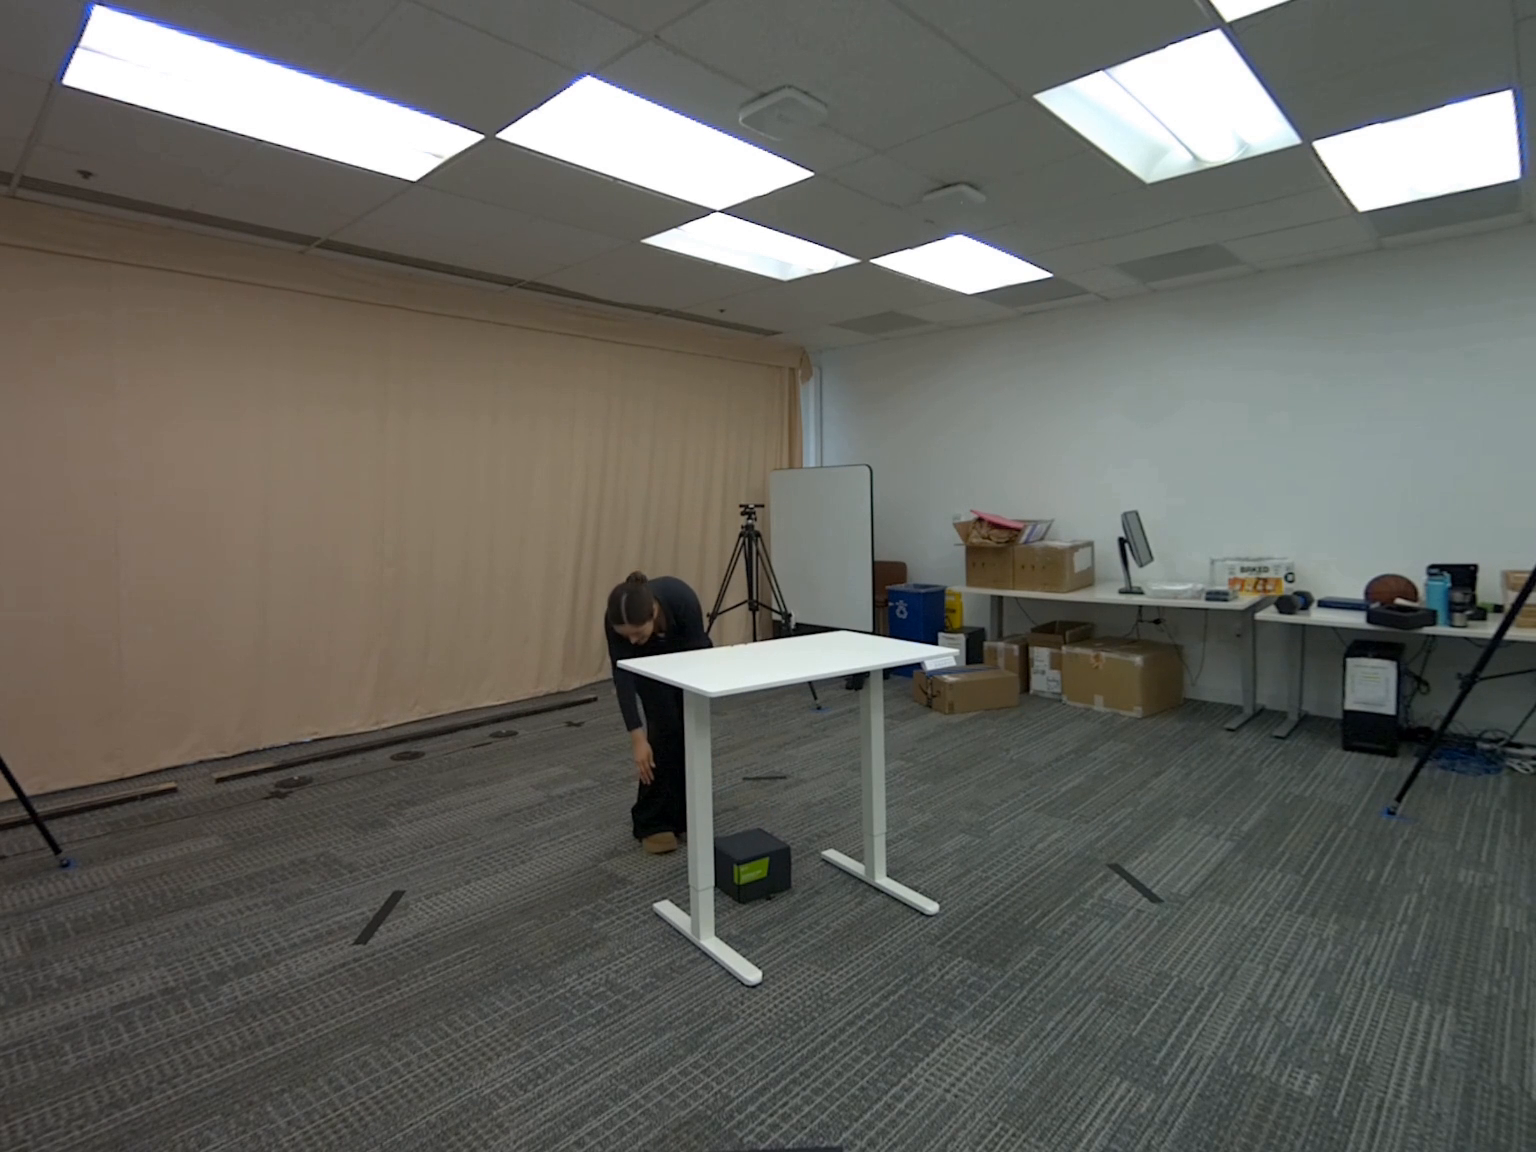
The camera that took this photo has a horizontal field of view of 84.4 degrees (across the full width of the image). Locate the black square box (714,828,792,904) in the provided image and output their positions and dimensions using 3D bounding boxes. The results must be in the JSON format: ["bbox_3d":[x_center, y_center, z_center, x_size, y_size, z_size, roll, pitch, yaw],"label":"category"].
[{"bbox_3d":[-0.064,1.050,3.075,0.222,0.155,0.223,-4,5,-32],"label":"black square box"}]
